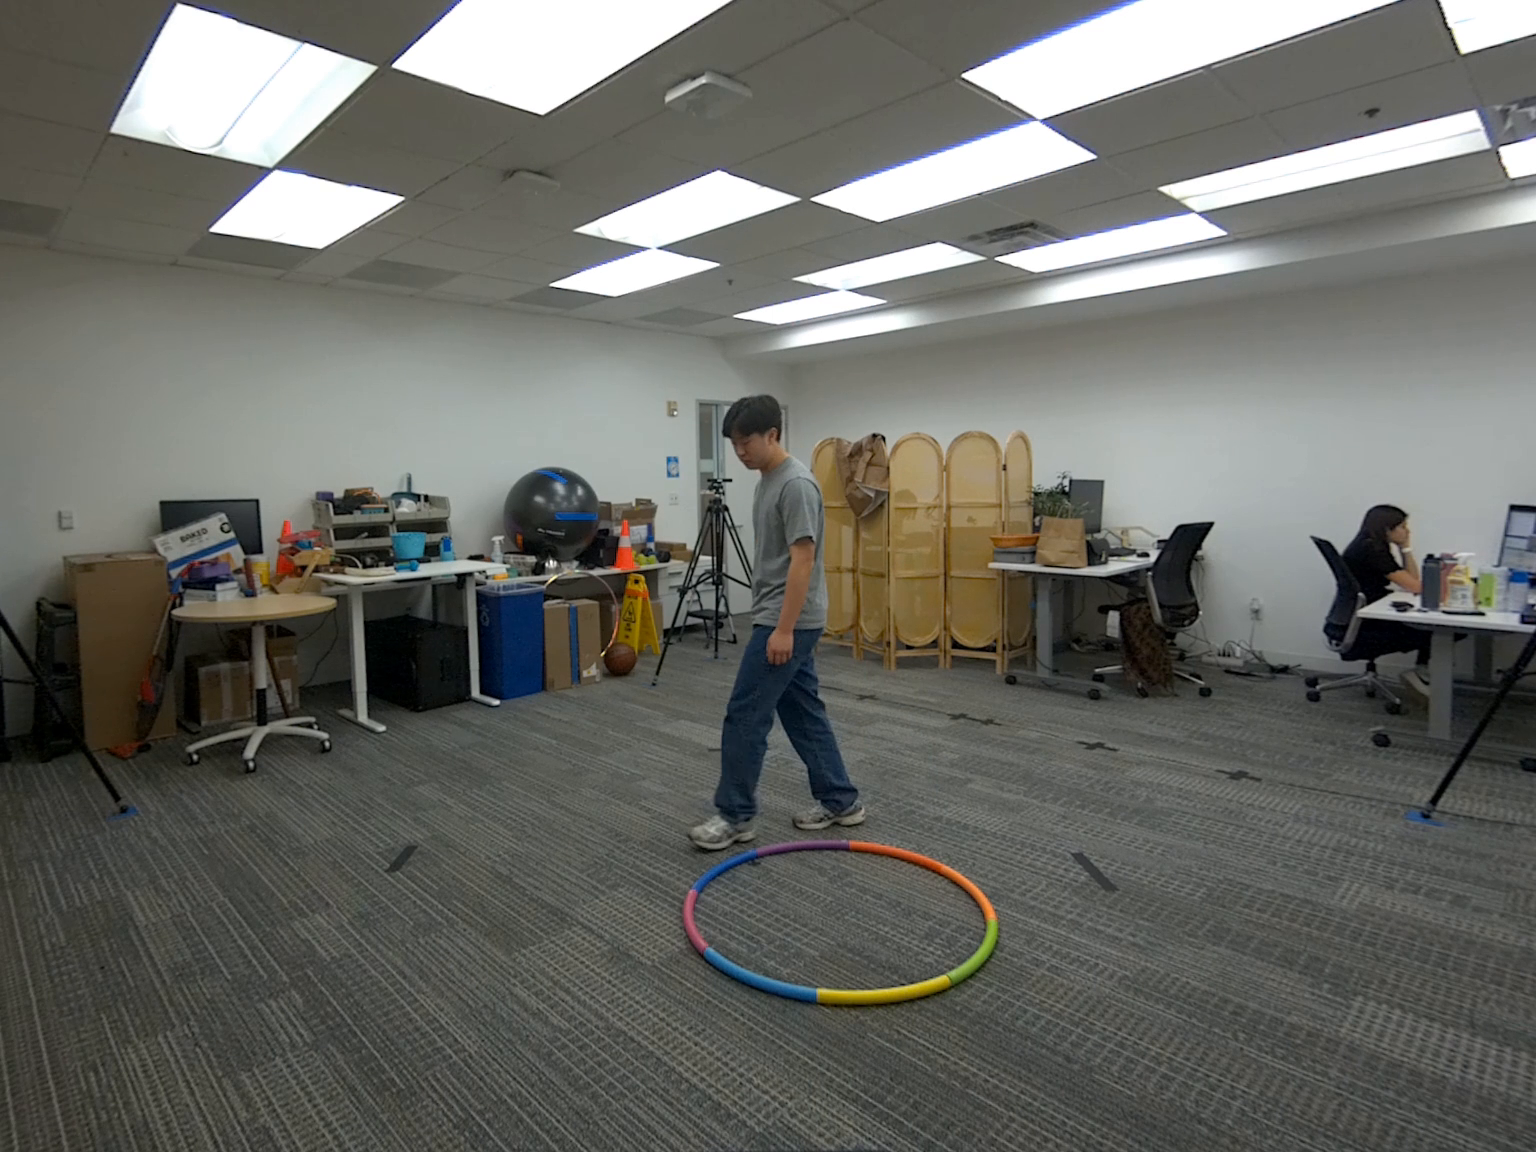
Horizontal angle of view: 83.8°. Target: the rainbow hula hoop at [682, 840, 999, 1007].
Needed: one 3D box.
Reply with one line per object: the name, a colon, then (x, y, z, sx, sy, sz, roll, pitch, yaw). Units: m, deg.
rainbow hula hoop: (0.217, 1.054, 2.743, 0.978, 0.035, 0.984, -1, 7, -2)
